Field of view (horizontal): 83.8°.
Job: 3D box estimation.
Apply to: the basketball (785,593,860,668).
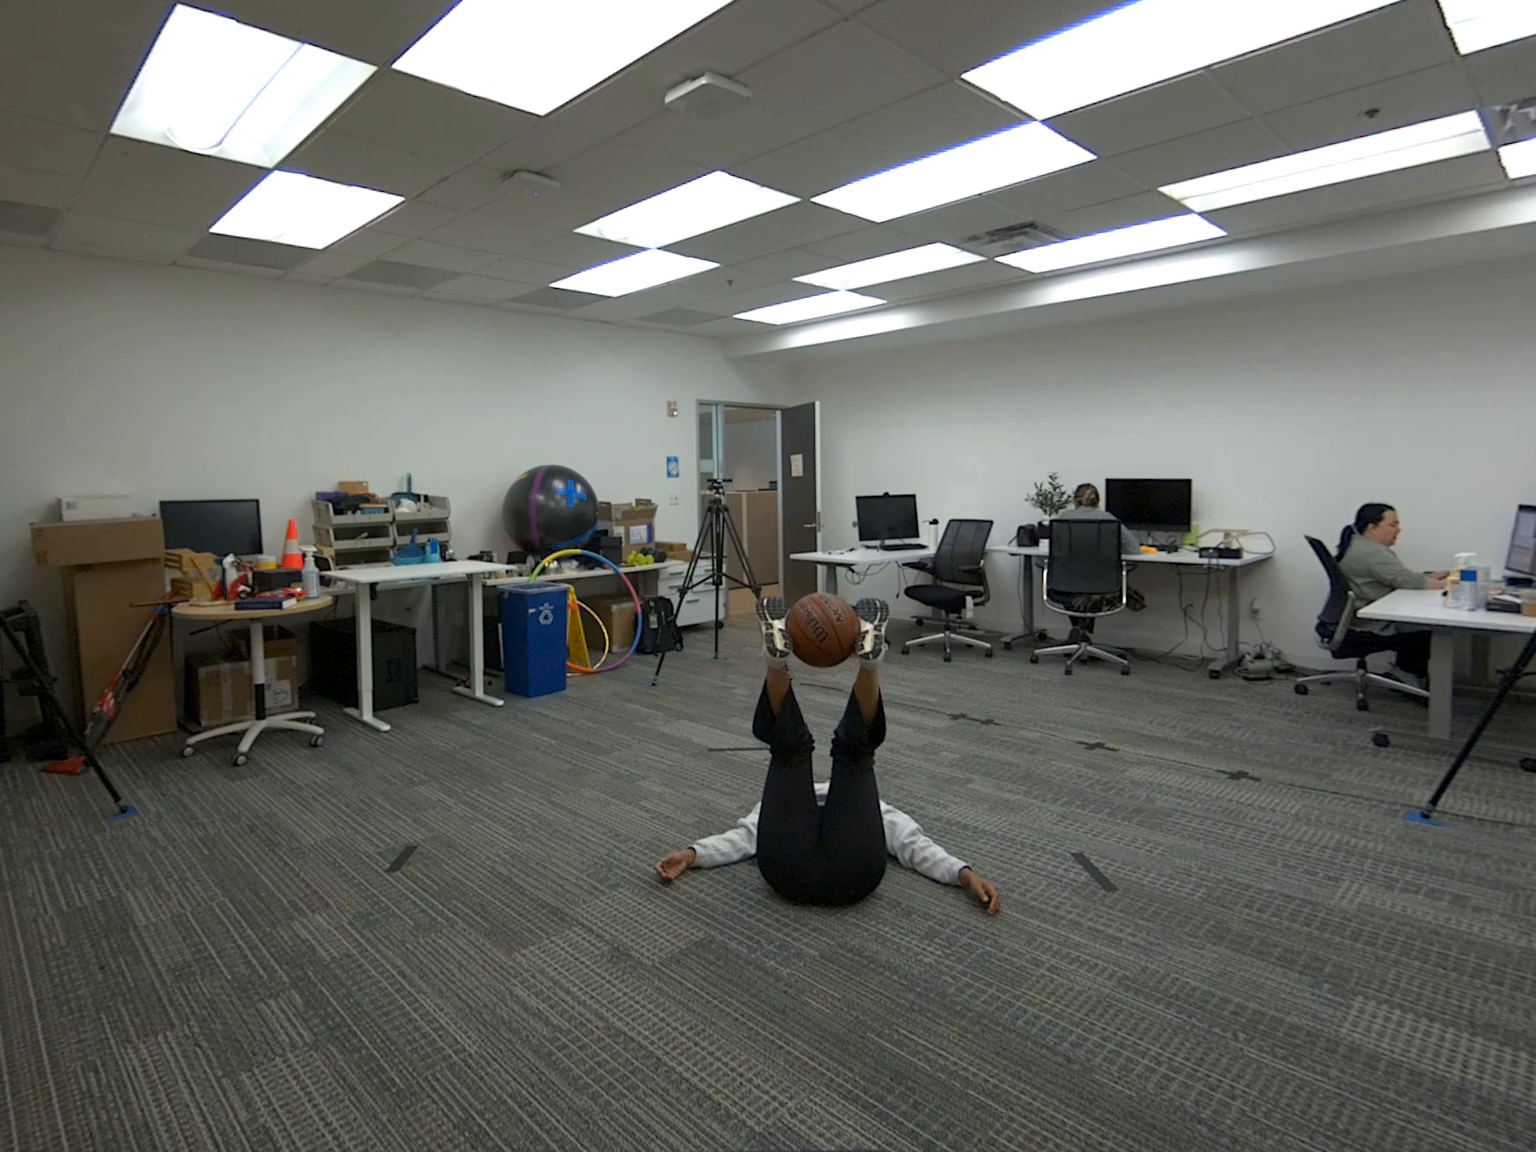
[{"bbox_3d":[0.178,0.177,2.724,0.236,0.235,0.236,-4,2,-2],"label":"basketball"}]
